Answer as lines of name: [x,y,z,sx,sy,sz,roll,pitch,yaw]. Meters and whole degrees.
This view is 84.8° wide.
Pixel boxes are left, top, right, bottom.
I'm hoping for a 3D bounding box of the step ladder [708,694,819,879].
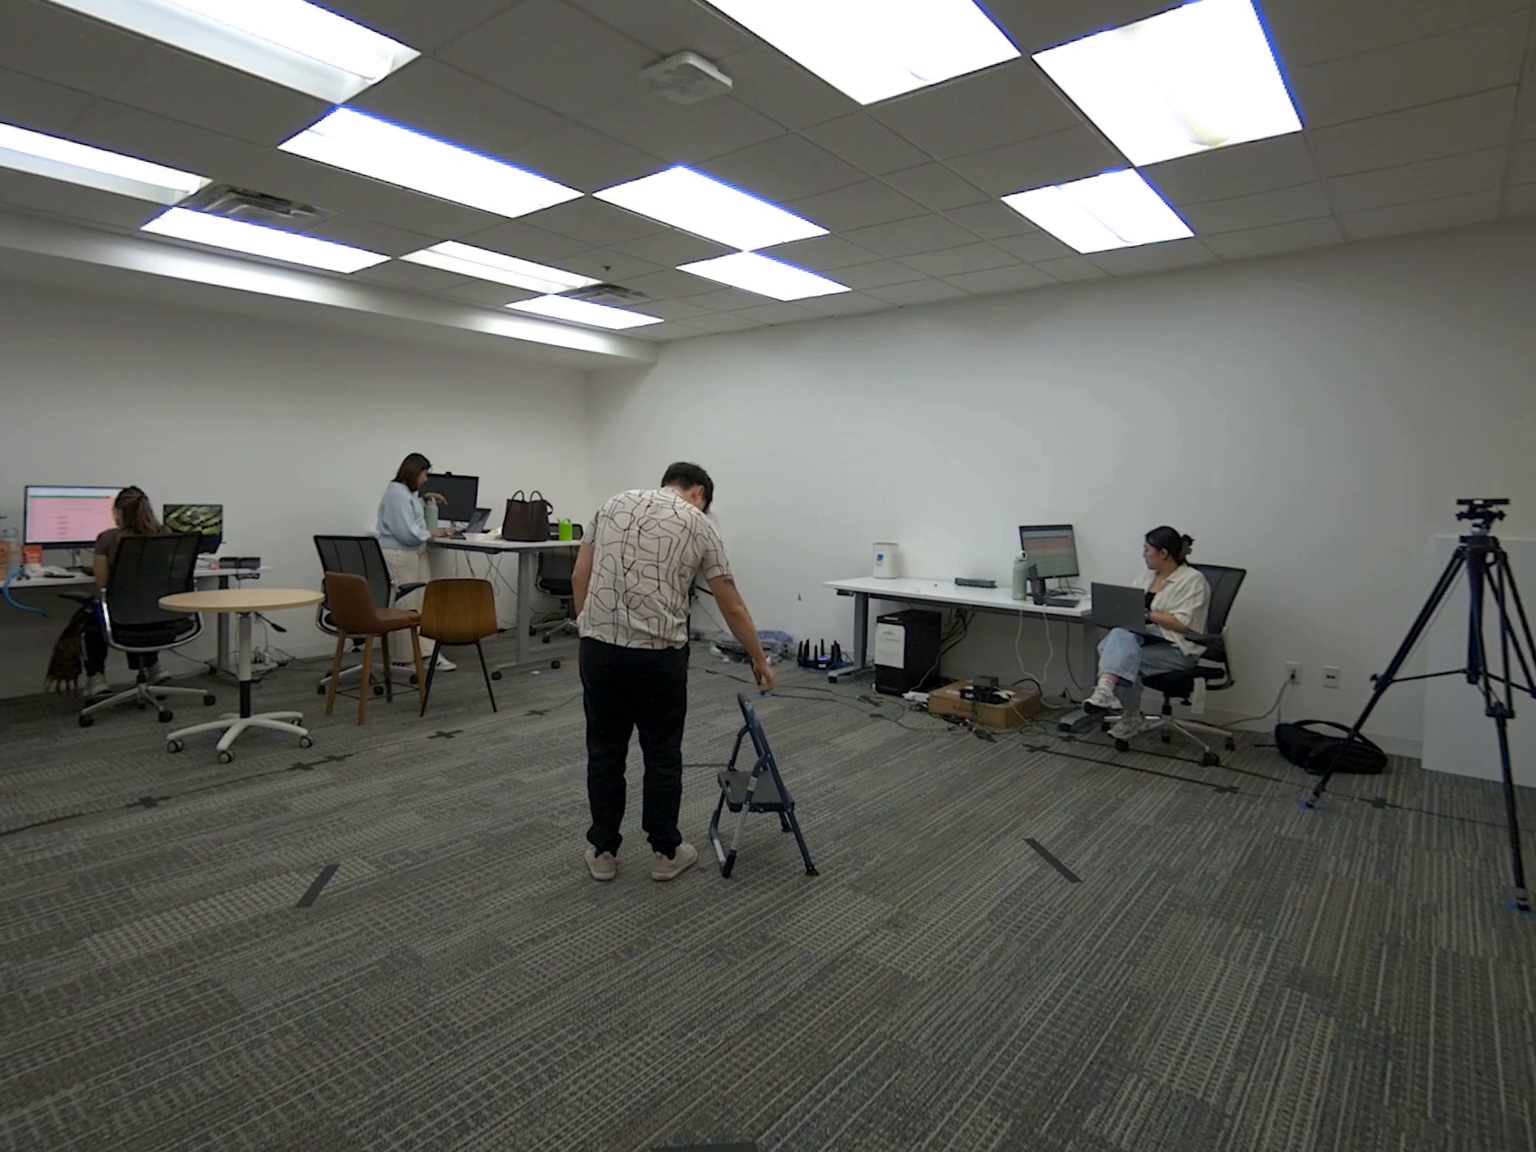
step ladder: [-0.033,0.765,3.255,0.345,0.605,0.437,2,3,-12]
